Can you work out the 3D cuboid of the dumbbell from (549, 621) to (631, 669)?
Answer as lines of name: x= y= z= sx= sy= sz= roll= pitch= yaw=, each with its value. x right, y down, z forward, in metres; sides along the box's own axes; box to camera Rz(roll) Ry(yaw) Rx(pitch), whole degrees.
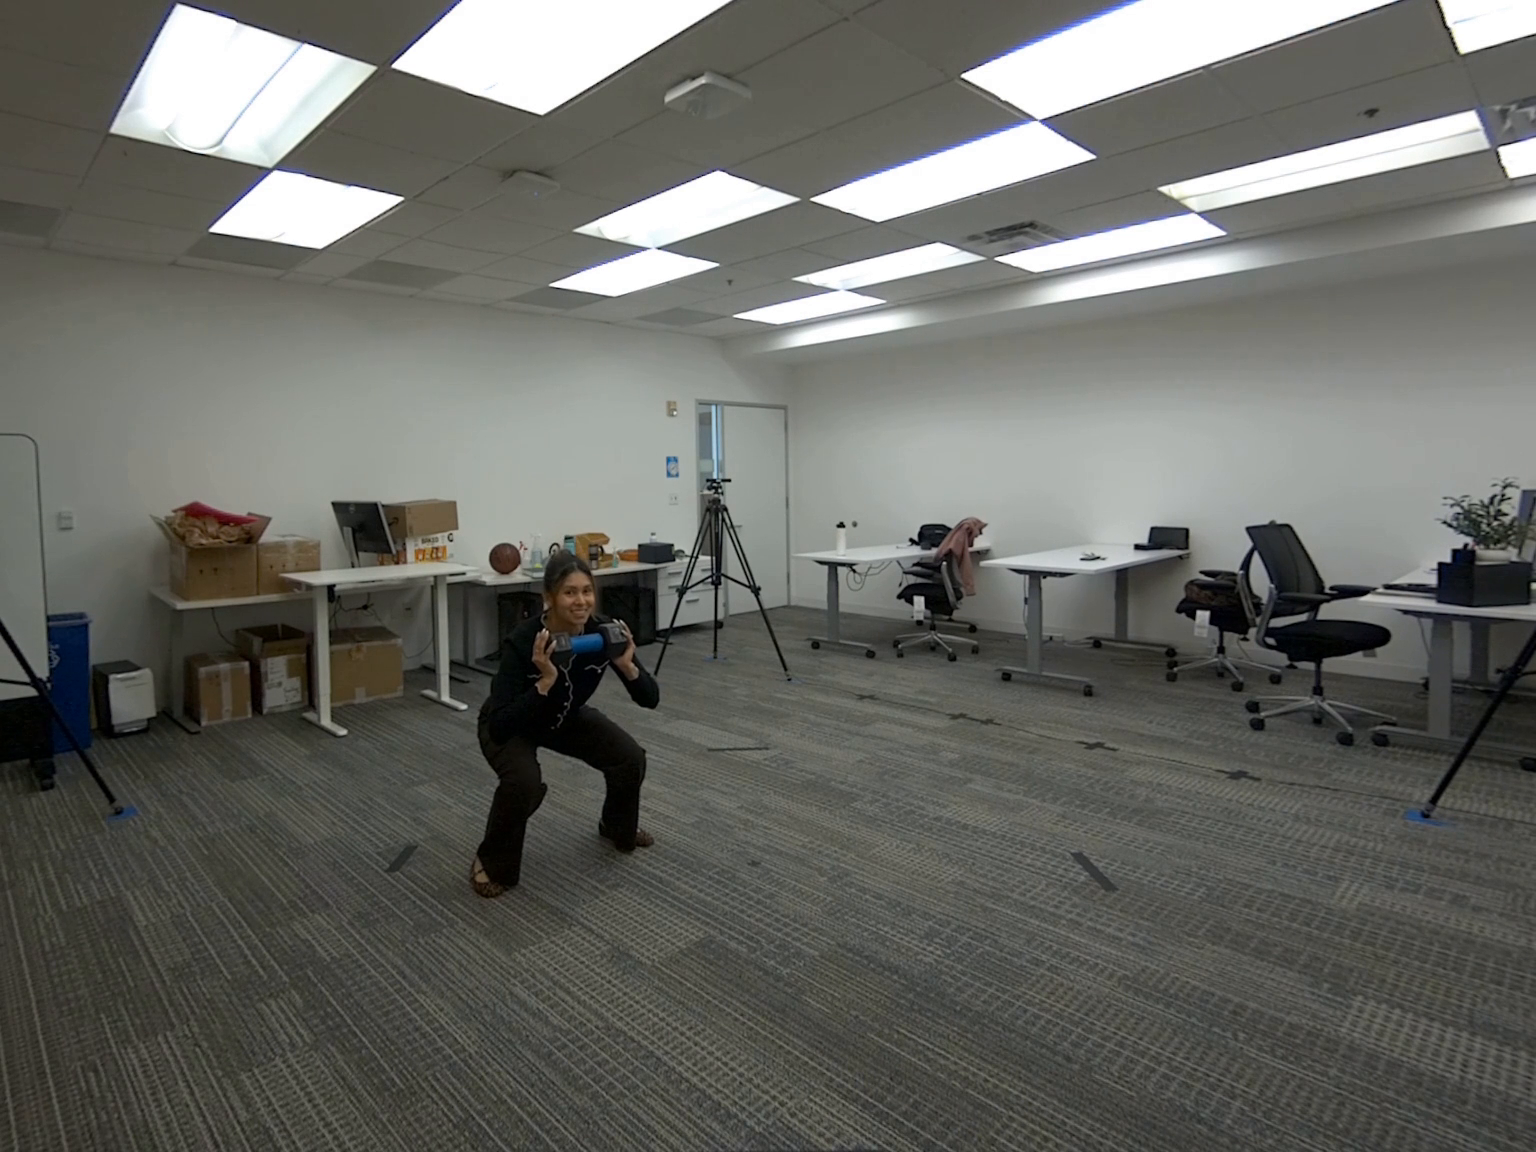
dumbbell: x=-0.639 y=0.223 z=2.885 sx=0.286 sy=0.126 sz=0.109 roll=-6 pitch=-28 yaw=-39
